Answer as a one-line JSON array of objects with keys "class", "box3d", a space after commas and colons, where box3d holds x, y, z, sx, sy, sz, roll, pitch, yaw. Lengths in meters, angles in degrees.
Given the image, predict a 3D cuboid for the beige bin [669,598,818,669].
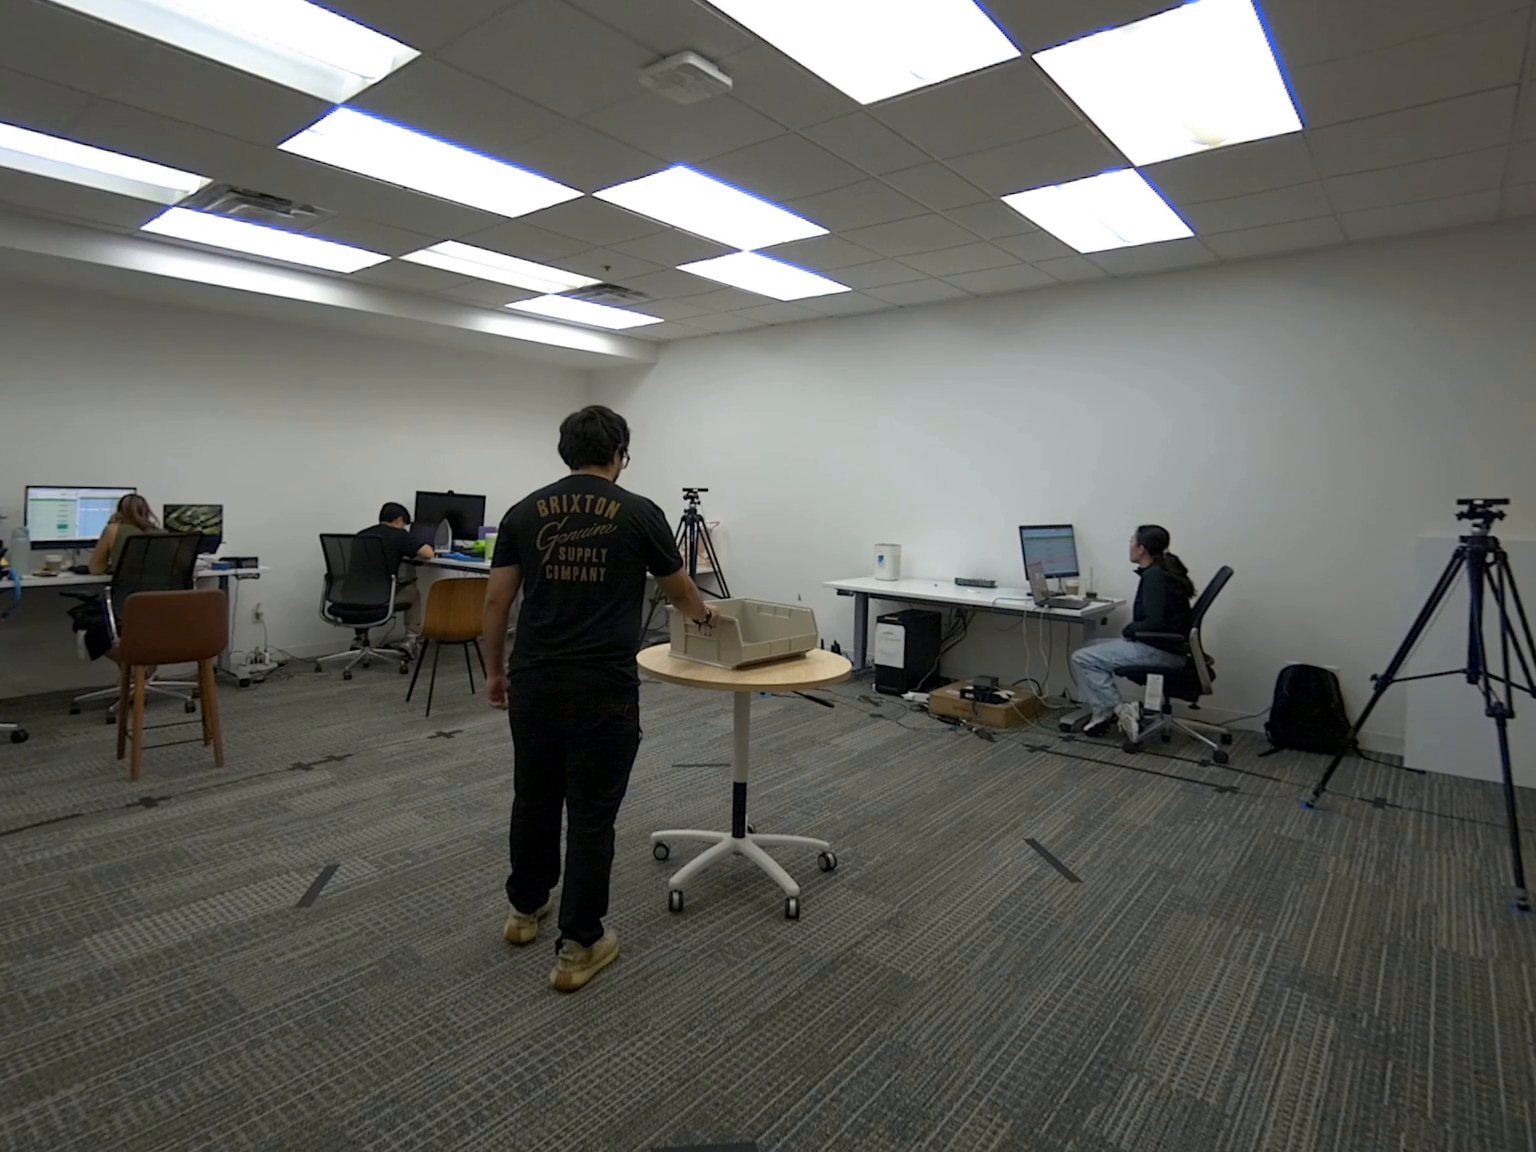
[{"class": "beige bin", "box3d": [-0.101, 0.198, 3.079, 0.390, 0.188, 0.410, 3, 5, 42]}]
